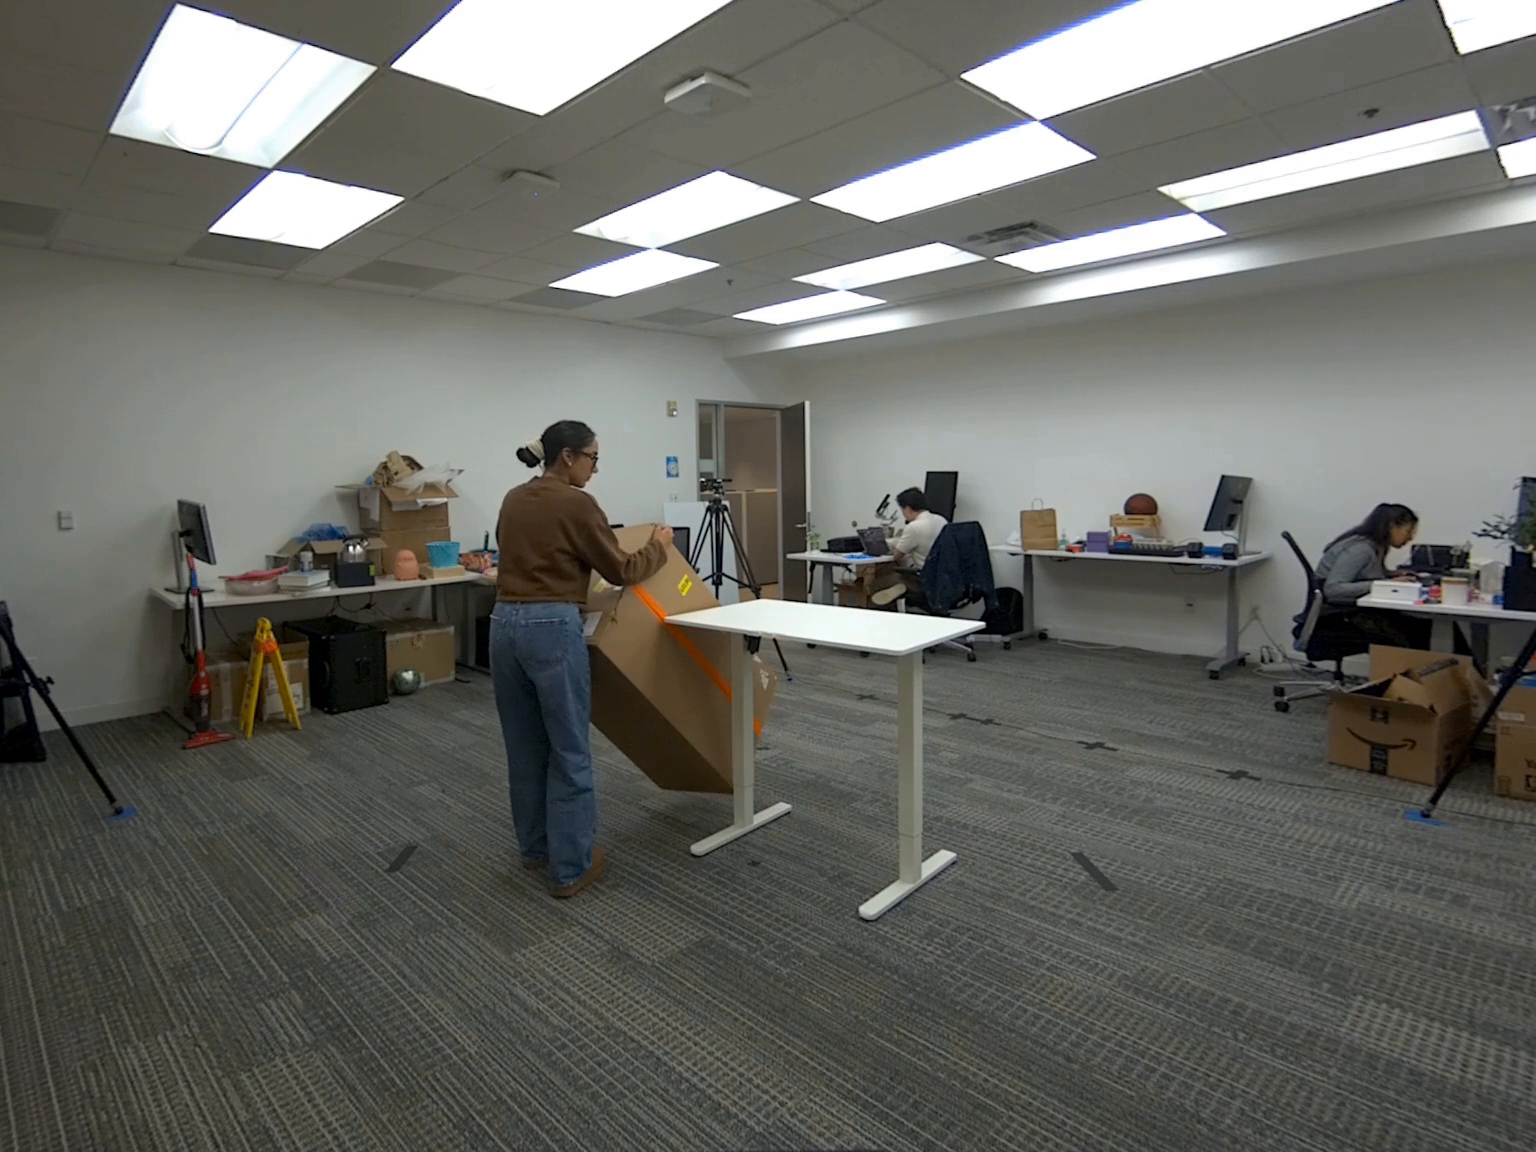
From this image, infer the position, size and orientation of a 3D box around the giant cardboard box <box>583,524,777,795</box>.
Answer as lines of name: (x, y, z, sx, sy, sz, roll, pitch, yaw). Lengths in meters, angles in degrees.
giant cardboard box: (-0.446, 0.366, 3.477, 0.436, 0.585, 0.989, -8, -46, 33)
